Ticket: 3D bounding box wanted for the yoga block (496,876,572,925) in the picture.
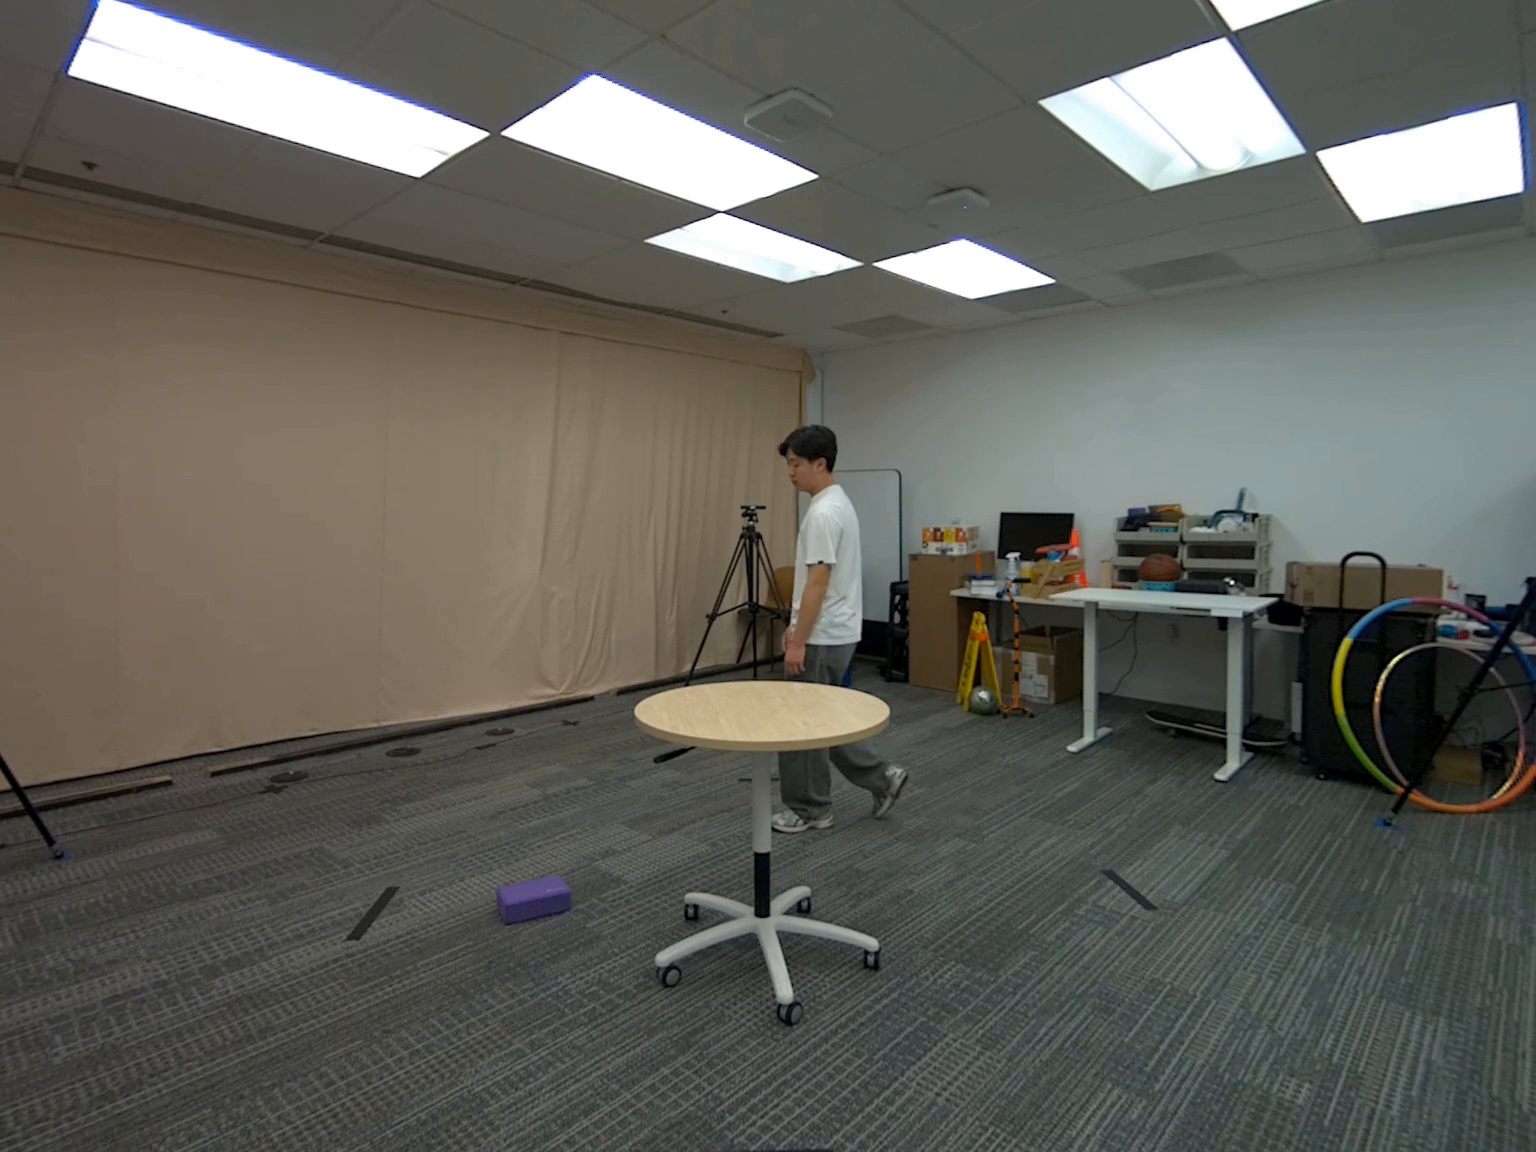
[{"bbox_3d":[-0.805,1.120,2.910,0.223,0.076,0.153,-3,5,-28],"label":"yoga block"}]
